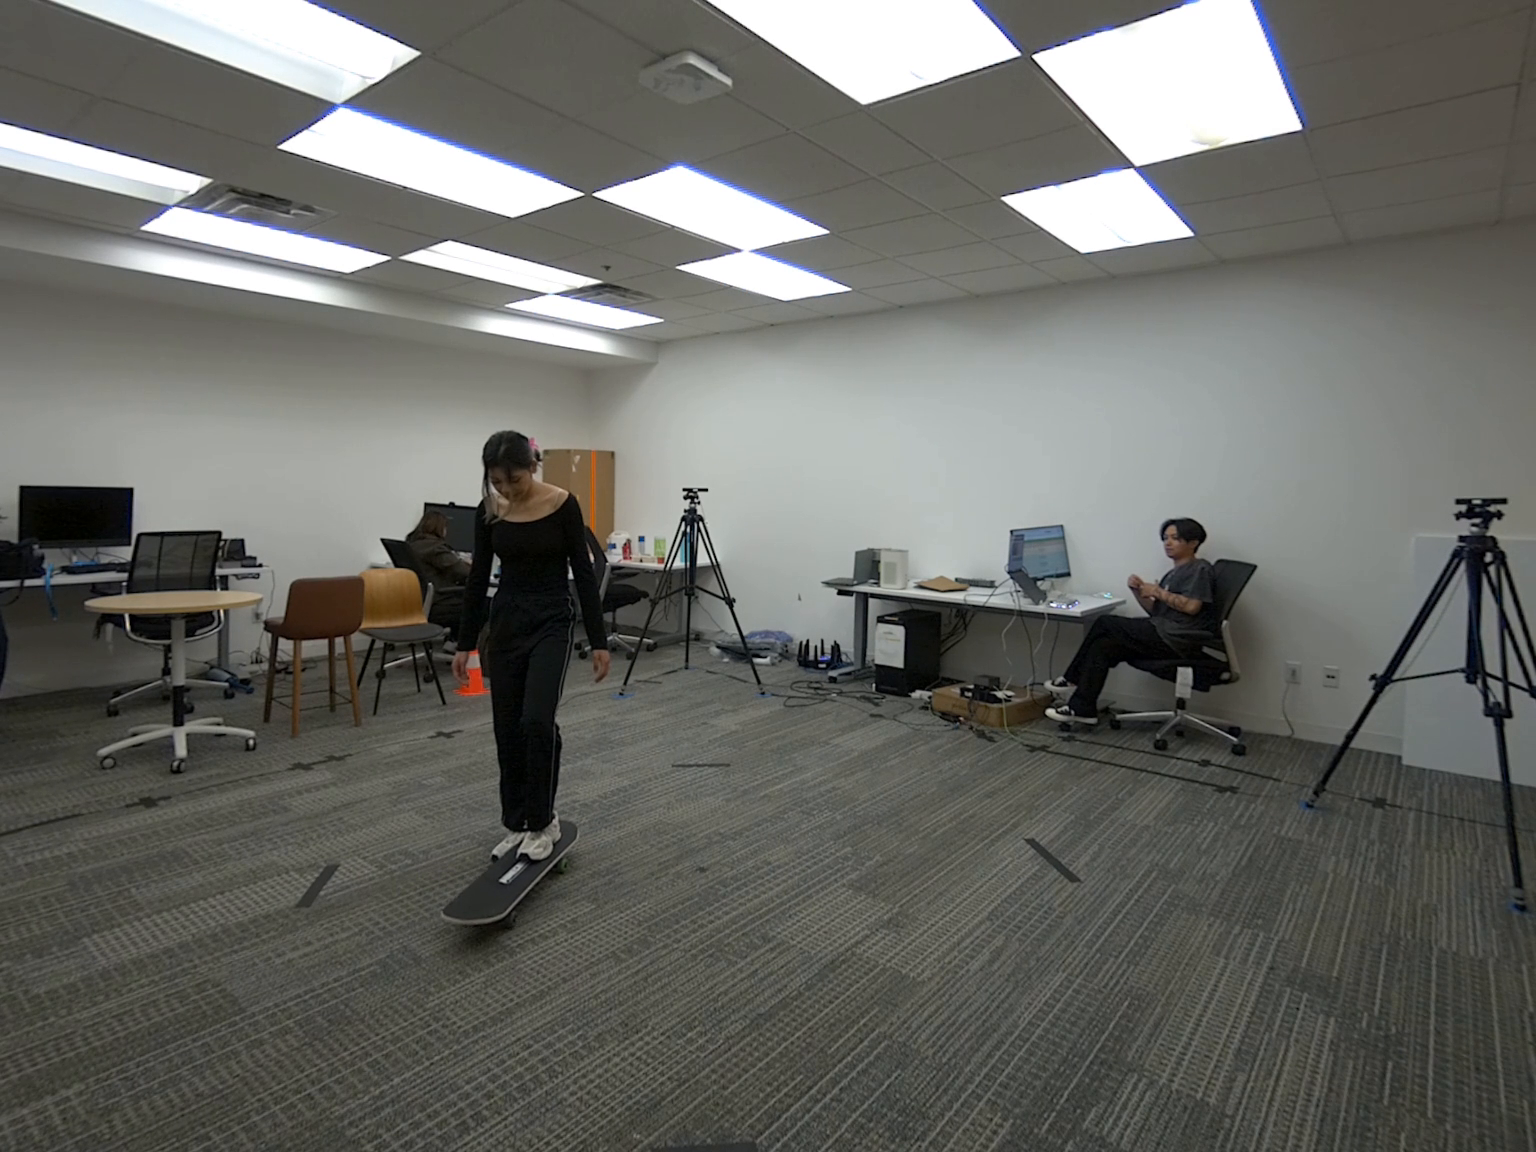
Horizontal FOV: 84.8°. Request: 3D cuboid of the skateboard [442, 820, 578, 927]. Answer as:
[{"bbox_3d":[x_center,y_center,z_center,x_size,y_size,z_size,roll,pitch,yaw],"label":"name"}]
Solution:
[{"bbox_3d":[-0.870,1.028,2.886,0.196,0.110,0.777,2,5,11],"label":"skateboard"}]
